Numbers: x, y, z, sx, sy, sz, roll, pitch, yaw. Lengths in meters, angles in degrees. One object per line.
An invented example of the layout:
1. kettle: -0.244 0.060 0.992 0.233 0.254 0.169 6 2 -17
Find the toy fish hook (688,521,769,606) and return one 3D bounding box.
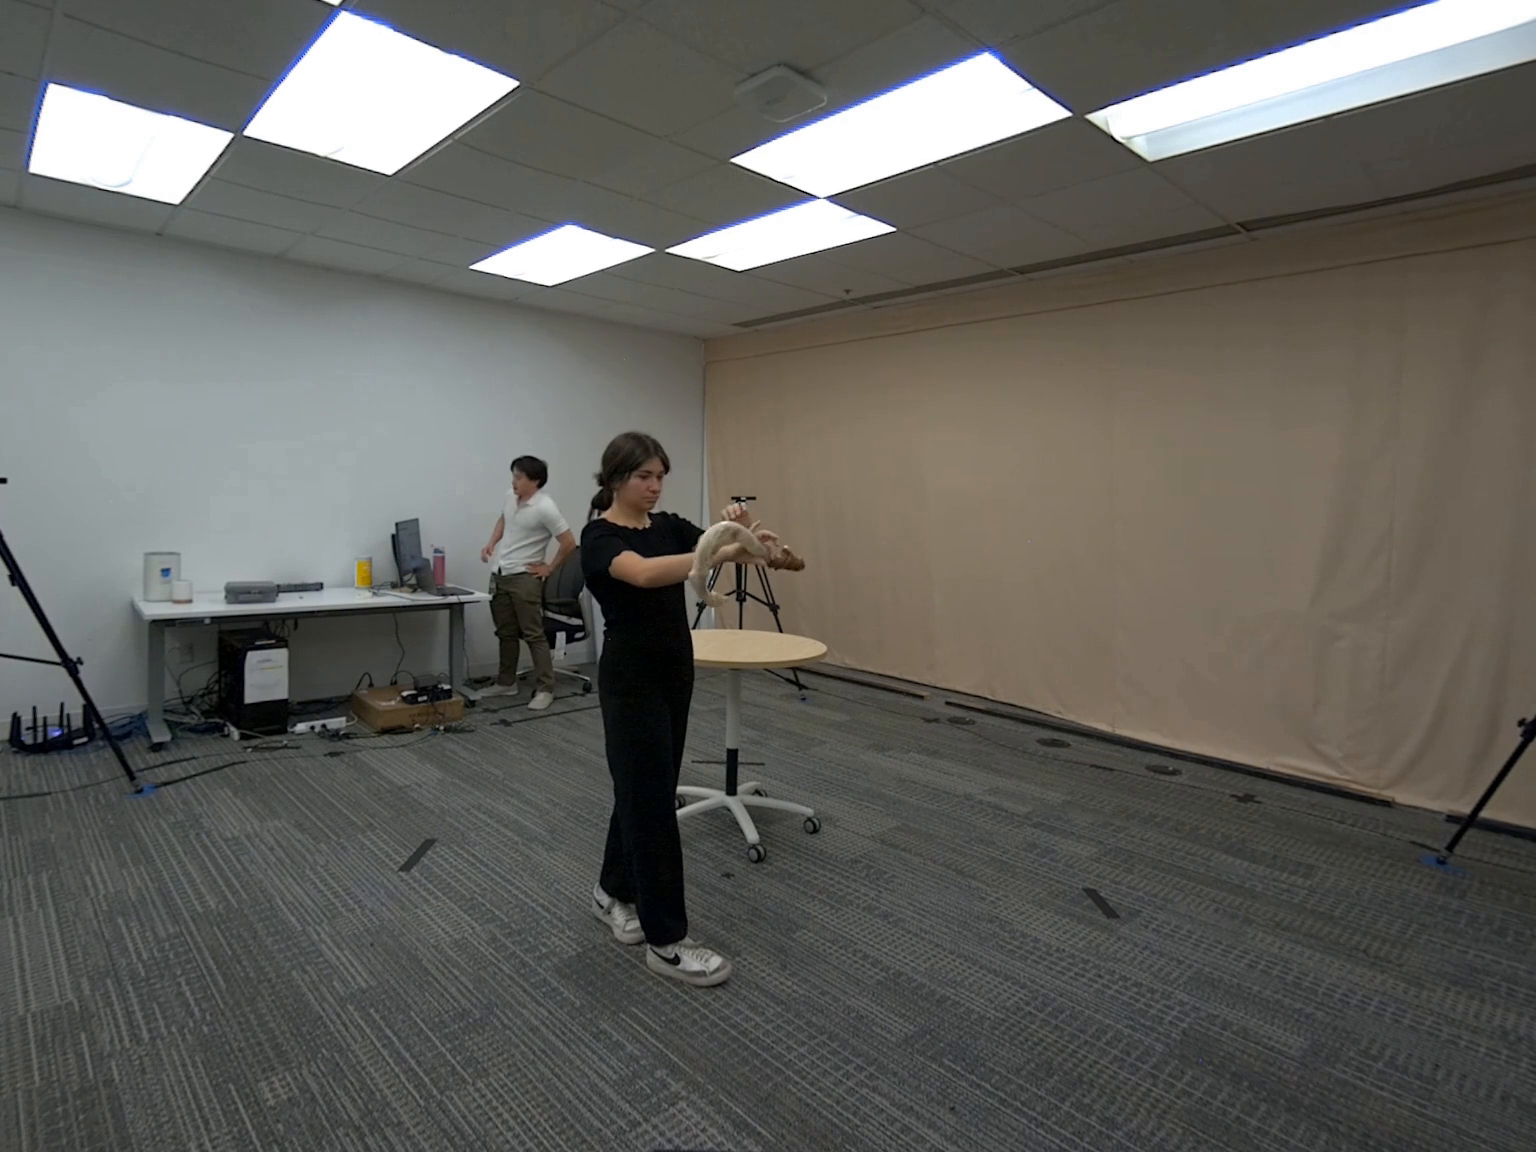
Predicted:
1. toy fish hook: -0.061 -0.011 2.254 0.049 0.224 0.493 23 4 31
